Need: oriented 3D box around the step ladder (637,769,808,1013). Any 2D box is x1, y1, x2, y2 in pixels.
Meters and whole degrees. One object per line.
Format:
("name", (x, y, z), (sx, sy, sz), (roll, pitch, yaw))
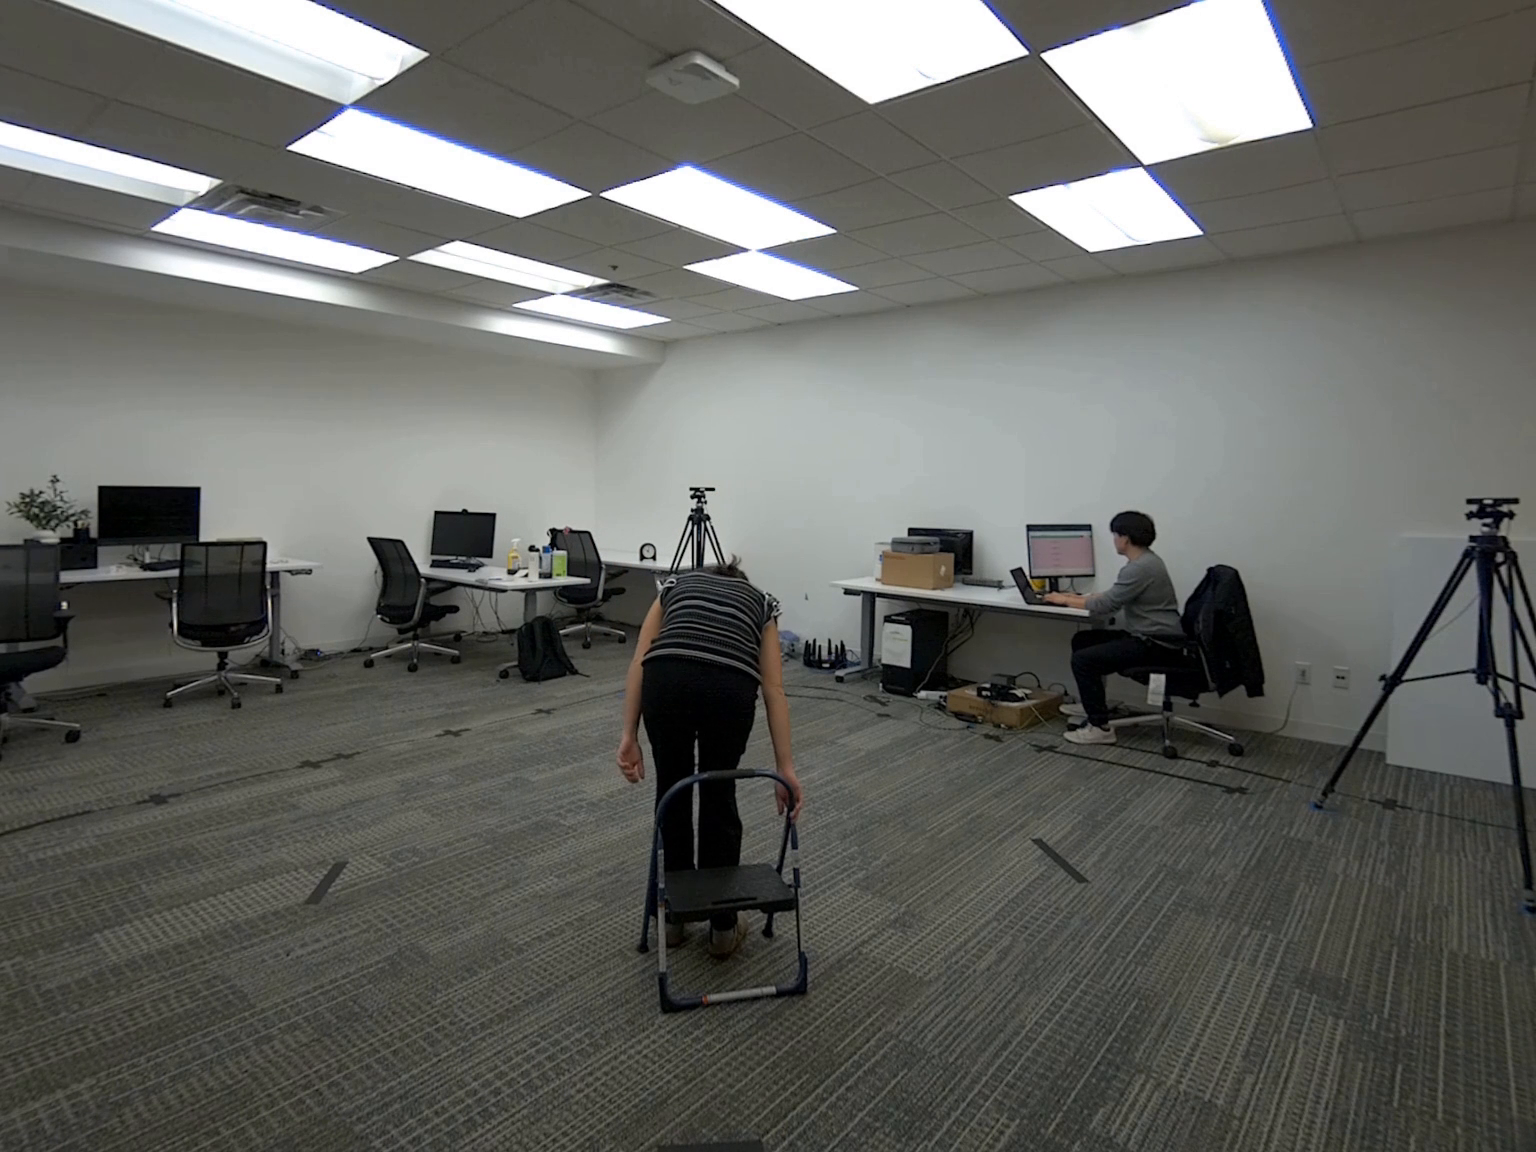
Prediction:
("step ladder", (-0.140, 0.834, 2.440), (0.423, 0.604, 0.356), (0, 3, -17))
